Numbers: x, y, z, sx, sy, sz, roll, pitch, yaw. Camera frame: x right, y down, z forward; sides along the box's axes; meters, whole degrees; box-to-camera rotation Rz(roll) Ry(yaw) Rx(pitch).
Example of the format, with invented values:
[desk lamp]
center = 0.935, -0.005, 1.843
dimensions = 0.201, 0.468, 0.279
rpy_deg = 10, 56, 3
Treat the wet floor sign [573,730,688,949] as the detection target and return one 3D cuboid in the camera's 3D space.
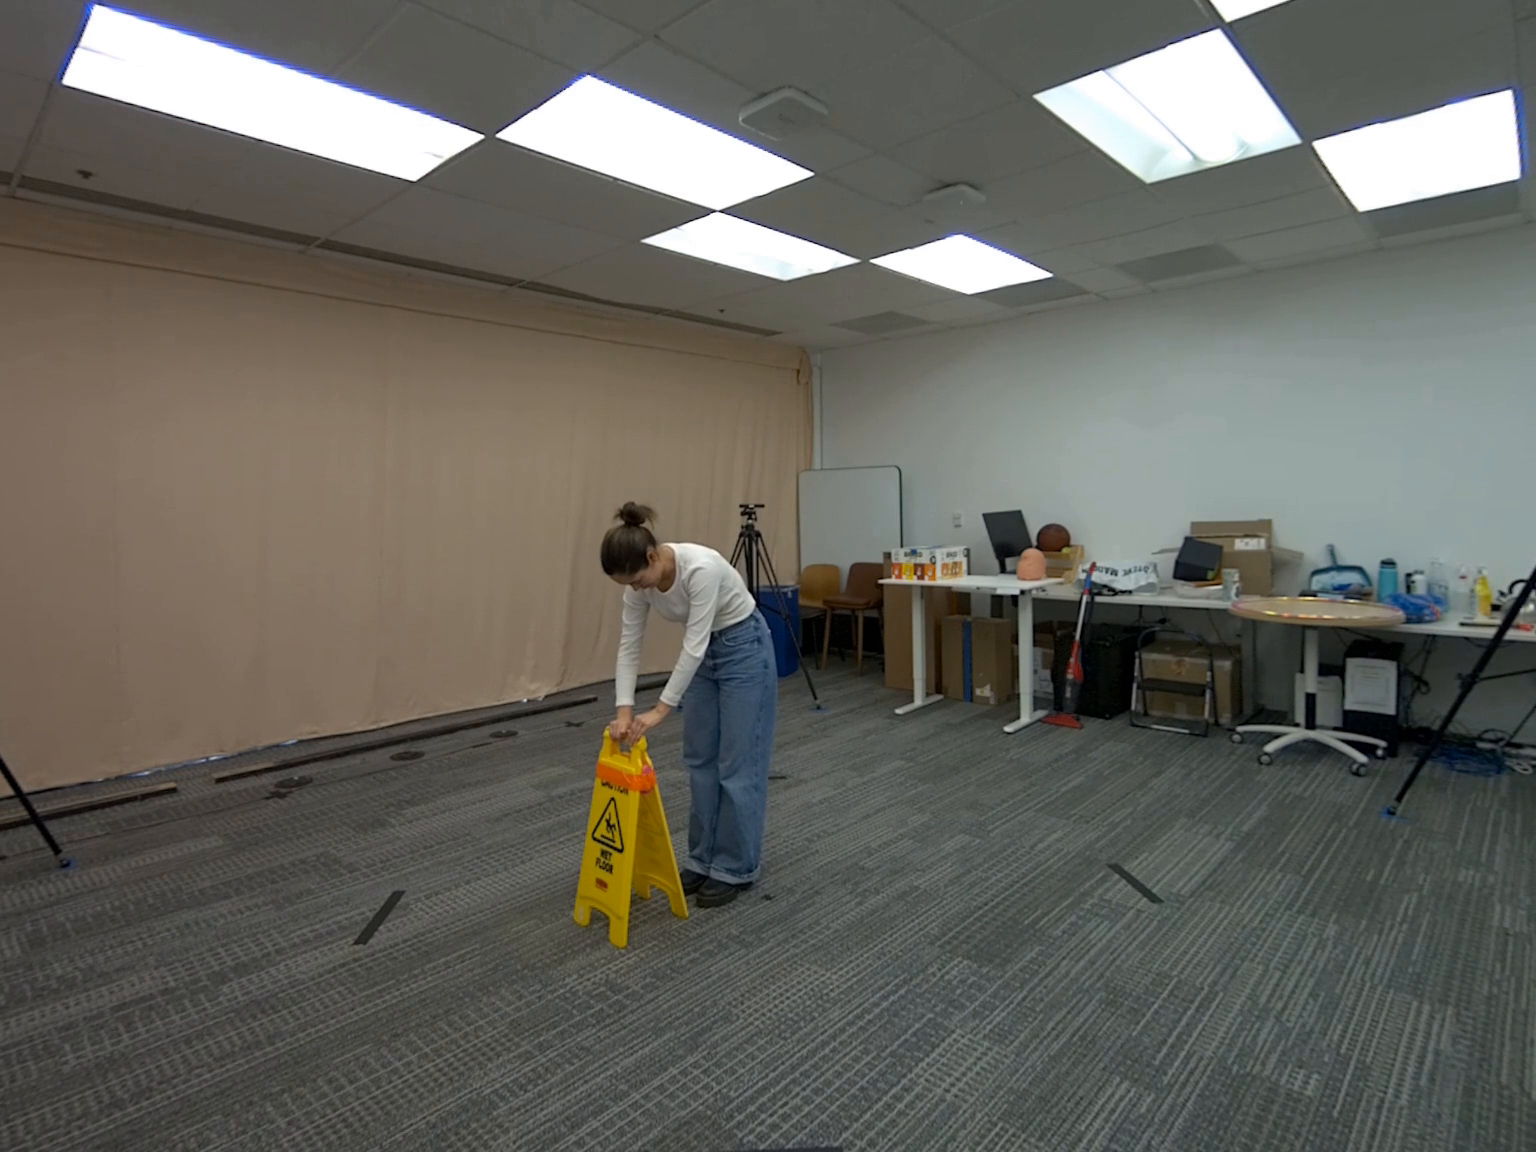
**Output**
[wet floor sign]
center = -0.471, 0.840, 2.824
dimensions = 0.291, 0.645, 0.281
rpy_deg = 0, 4, 44
